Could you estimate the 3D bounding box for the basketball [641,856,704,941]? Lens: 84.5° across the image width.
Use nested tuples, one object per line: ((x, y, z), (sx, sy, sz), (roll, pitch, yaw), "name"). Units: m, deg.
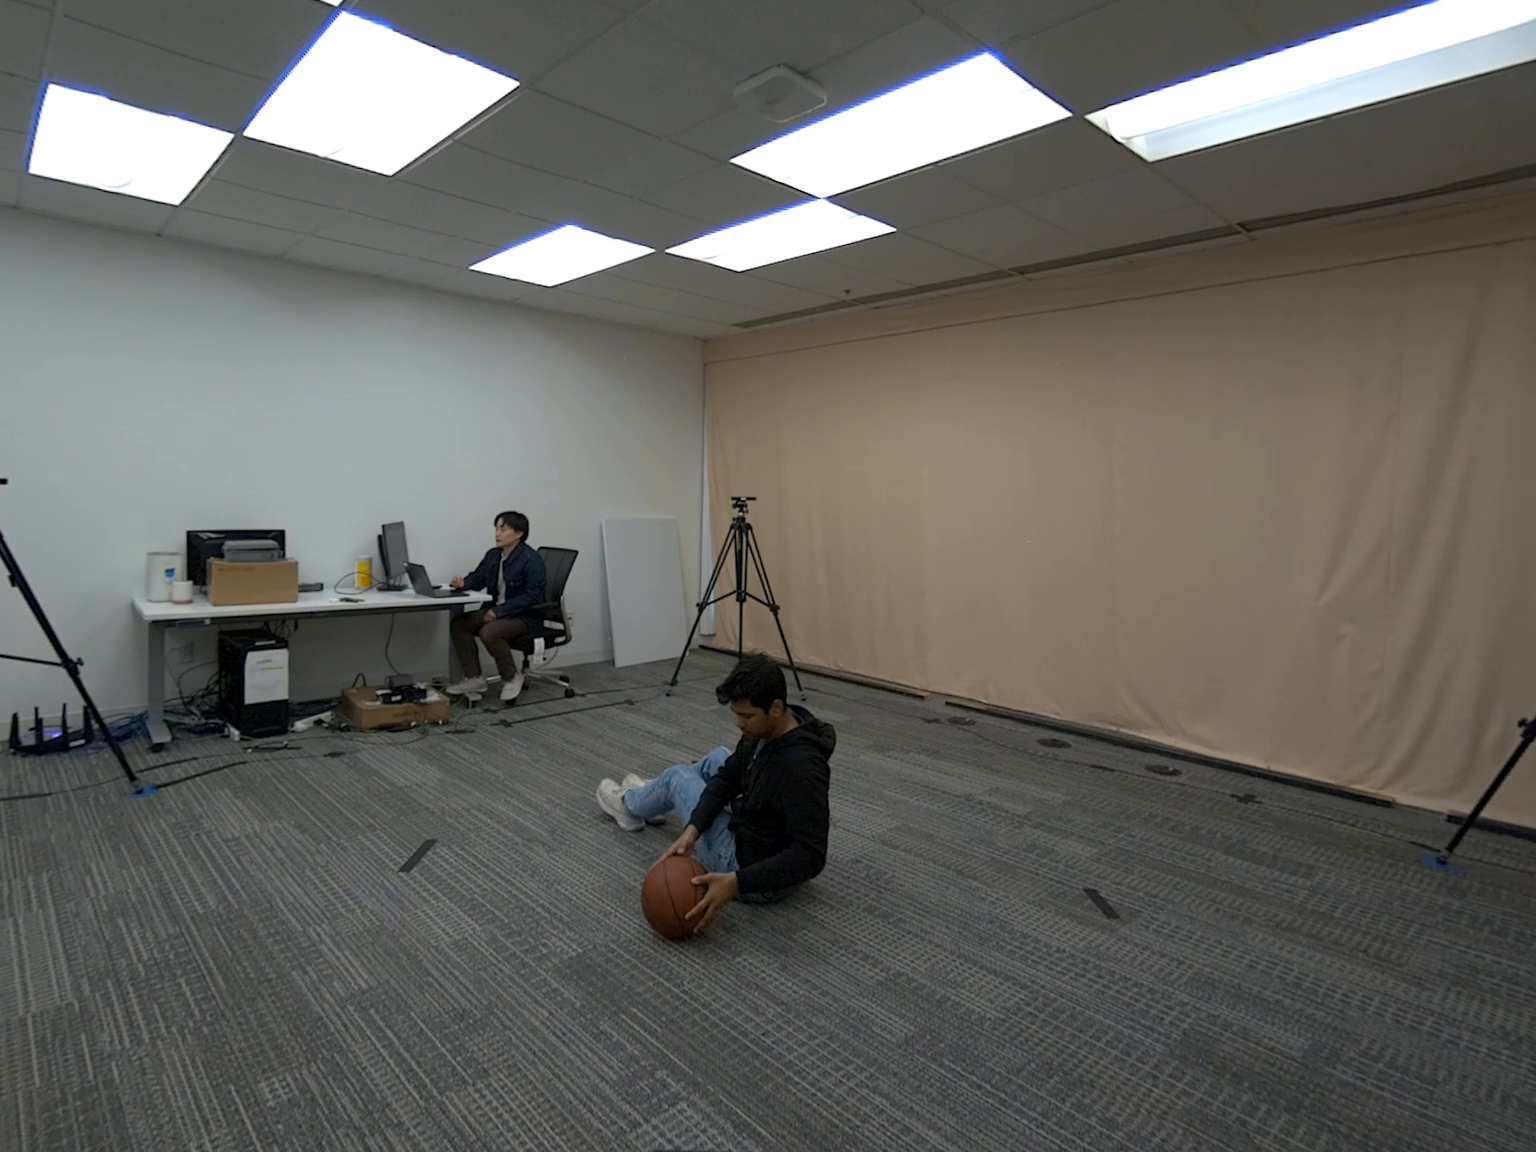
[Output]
((-0.294, 1.004, 2.685), (0.236, 0.235, 0.237), (1, 4, -1), "basketball")
